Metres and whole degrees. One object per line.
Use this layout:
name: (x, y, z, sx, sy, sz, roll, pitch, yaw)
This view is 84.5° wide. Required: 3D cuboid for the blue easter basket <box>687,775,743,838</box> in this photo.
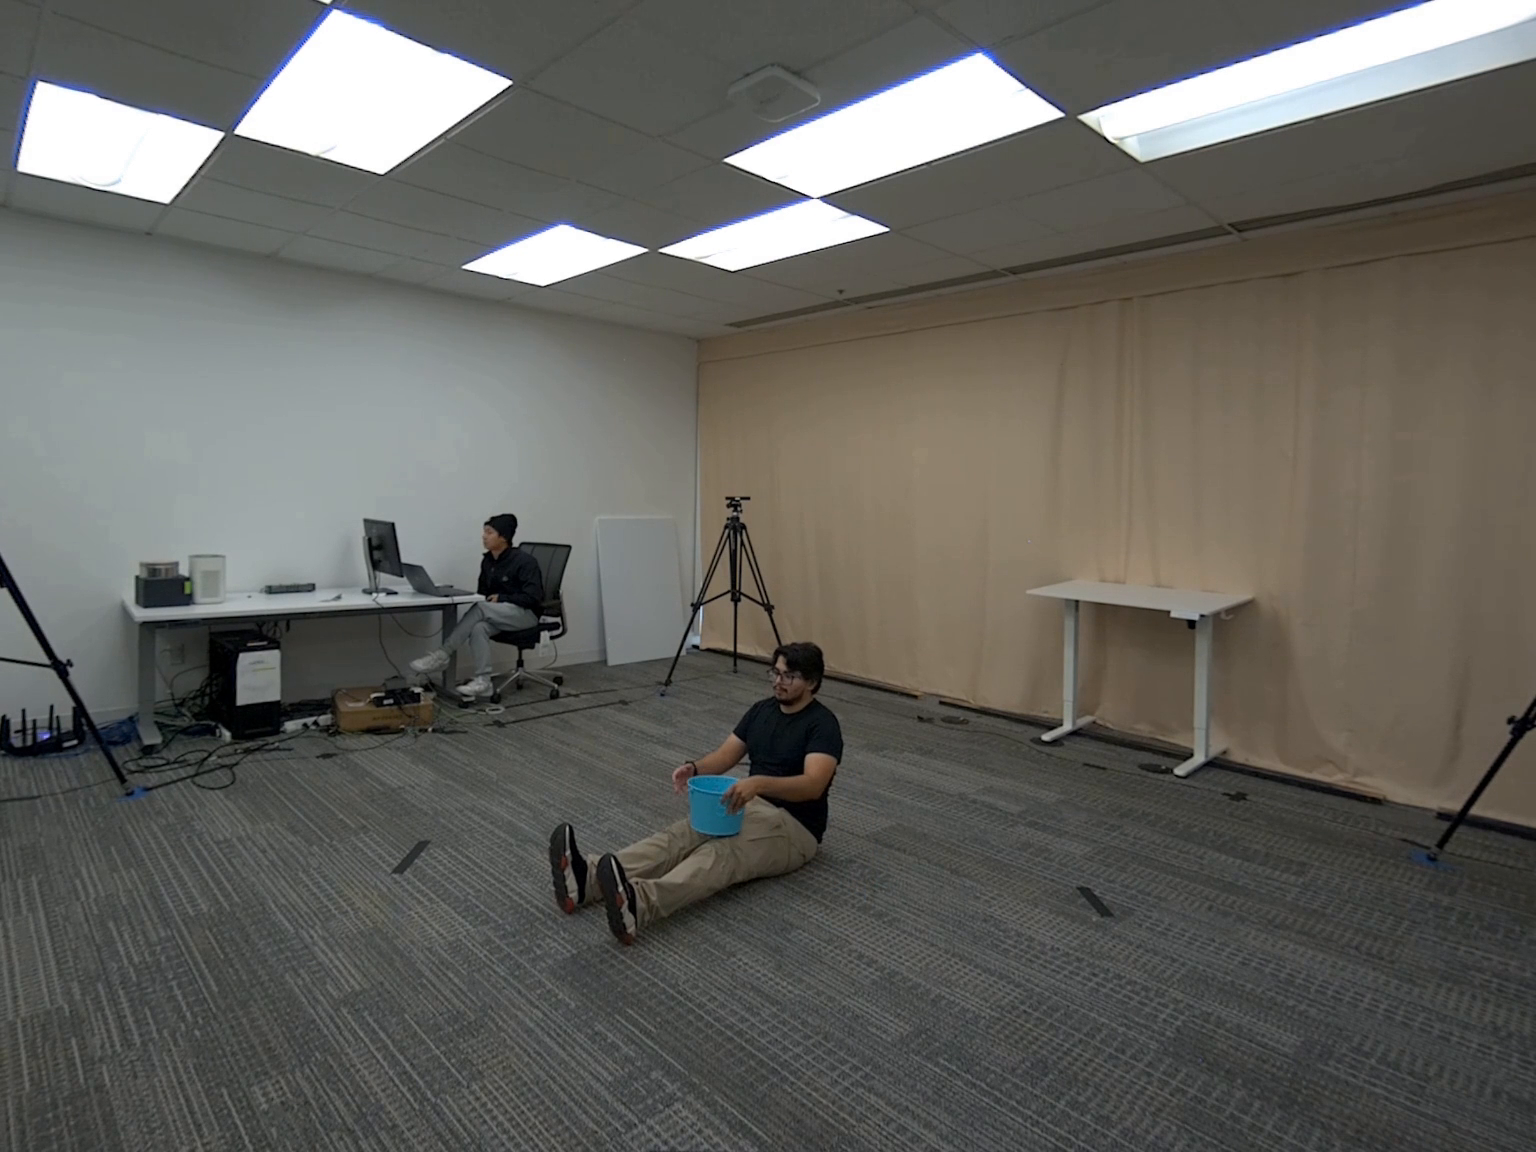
blue easter basket: (-0.184, 0.822, 3.027, 0.243, 0.156, 0.244, 4, 0, -1)
